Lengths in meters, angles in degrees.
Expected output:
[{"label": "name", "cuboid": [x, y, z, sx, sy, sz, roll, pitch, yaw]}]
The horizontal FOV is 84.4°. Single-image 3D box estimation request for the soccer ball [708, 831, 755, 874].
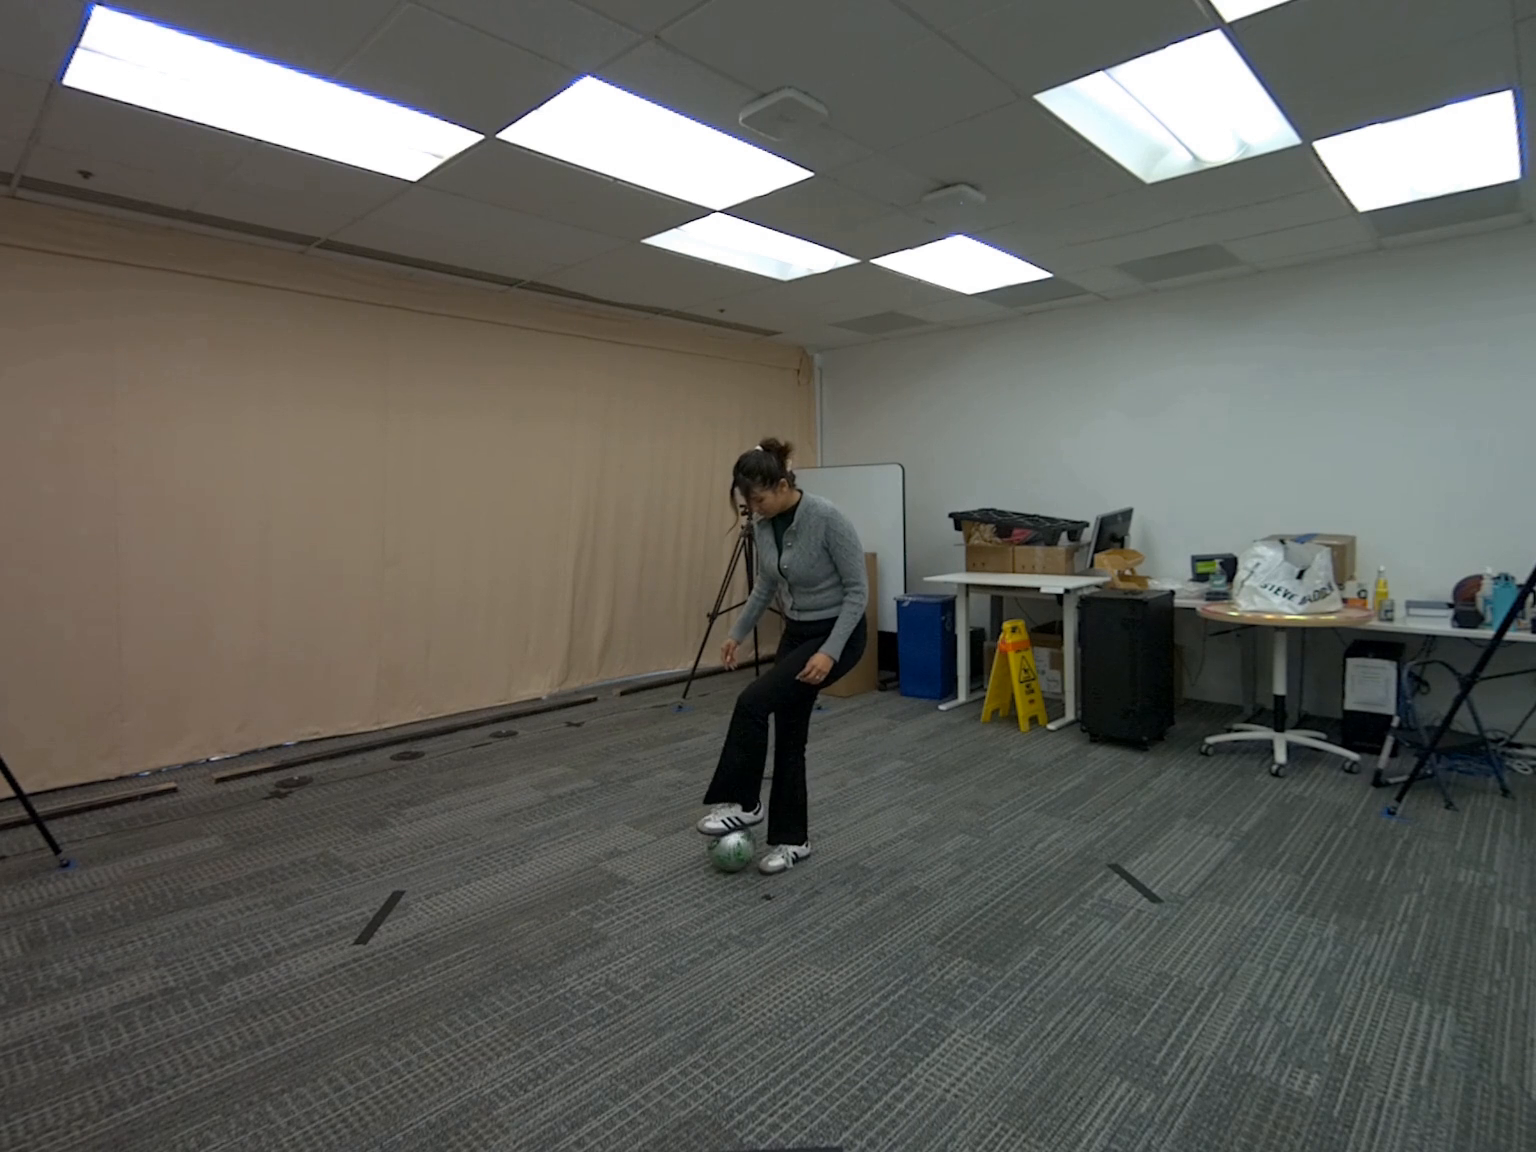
[{"label": "soccer ball", "cuboid": [-0.117, 1.031, 3.197, 0.187, 0.187, 0.188, -1, 4, -2]}]
